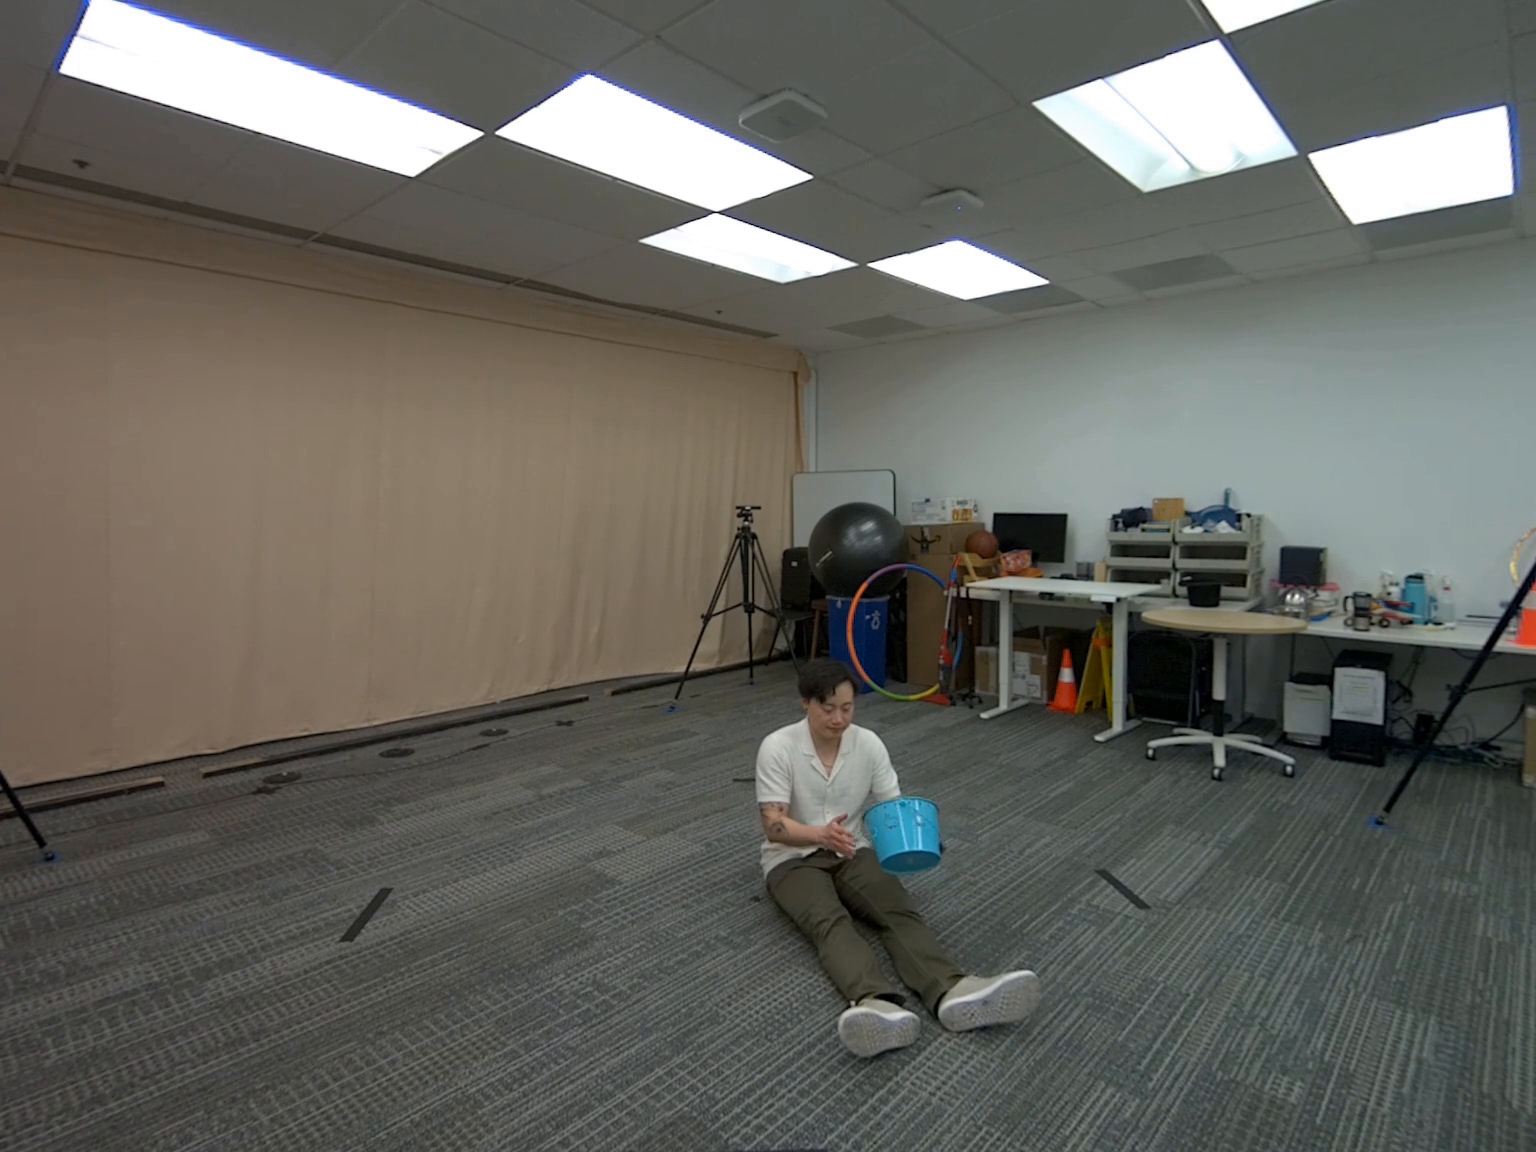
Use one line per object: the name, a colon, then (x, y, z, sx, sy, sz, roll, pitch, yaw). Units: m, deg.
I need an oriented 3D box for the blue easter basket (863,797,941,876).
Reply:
blue easter basket: (0.428, 0.795, 2.548, 0.243, 0.159, 0.239, -2, -40, -4)
